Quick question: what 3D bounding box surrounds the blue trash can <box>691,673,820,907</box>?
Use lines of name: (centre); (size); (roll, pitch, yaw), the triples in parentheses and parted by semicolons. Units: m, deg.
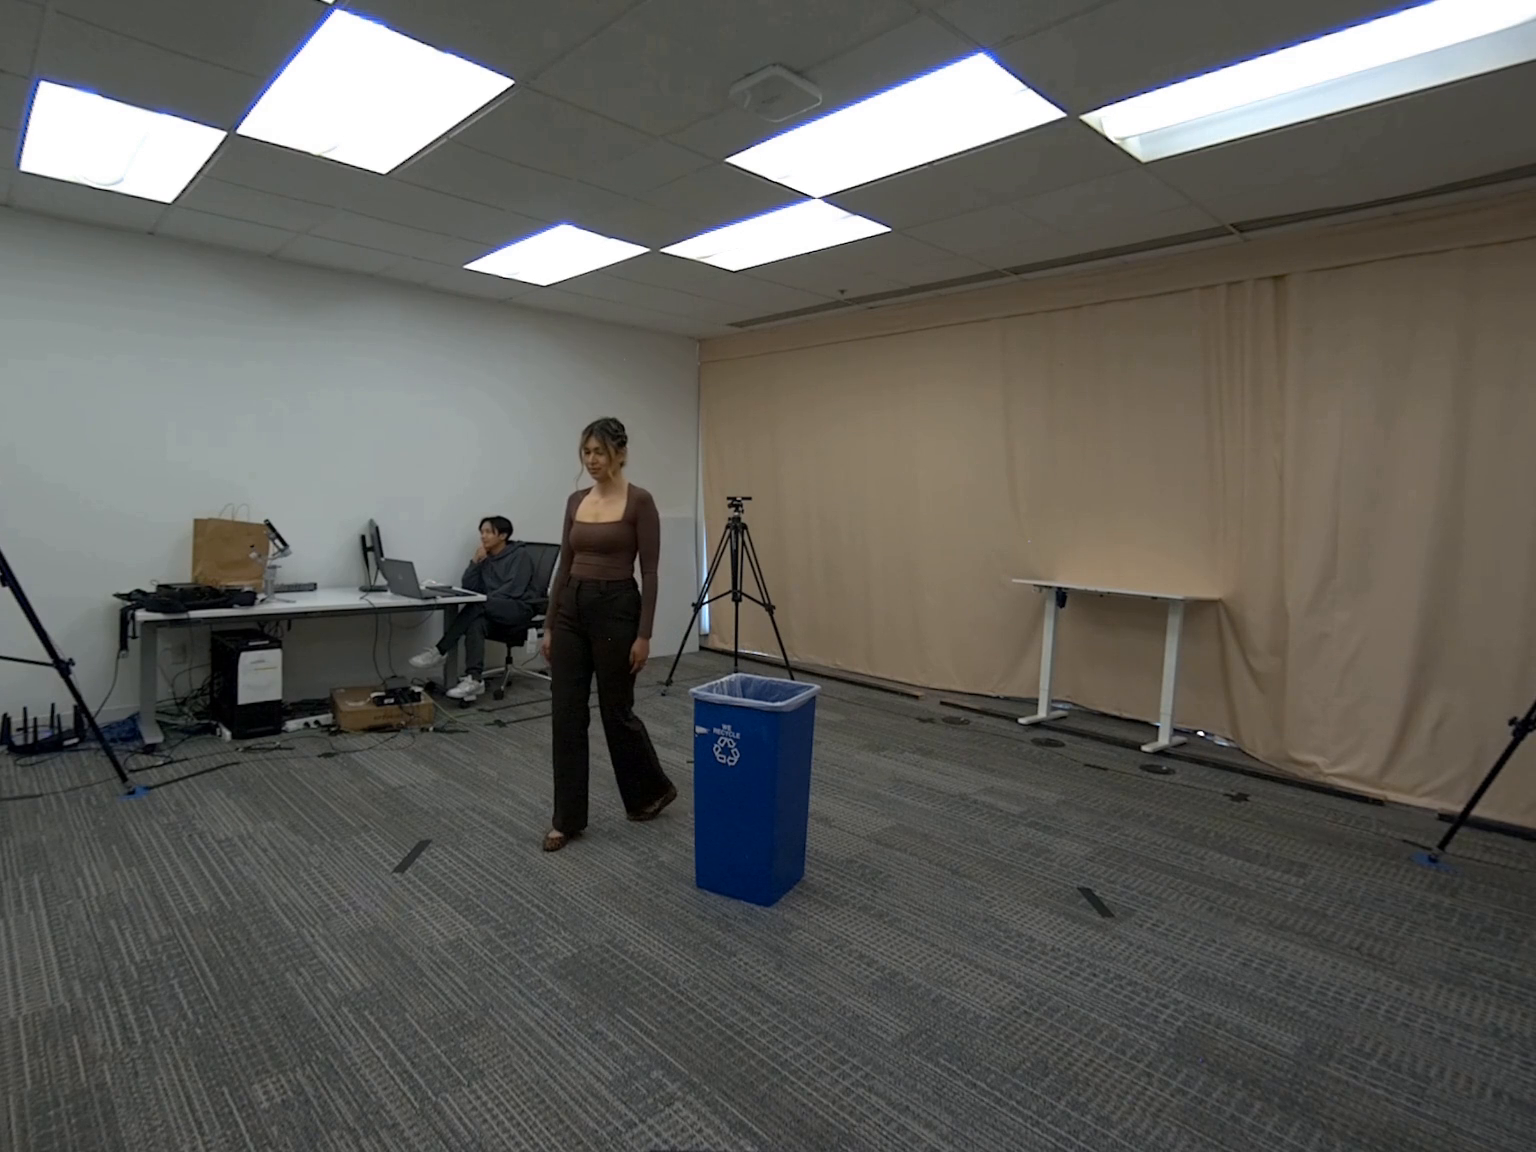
blue trash can: (-0.054, 0.754, 3.042); (0.382, 0.712, 0.371); (3, 4, 28)
